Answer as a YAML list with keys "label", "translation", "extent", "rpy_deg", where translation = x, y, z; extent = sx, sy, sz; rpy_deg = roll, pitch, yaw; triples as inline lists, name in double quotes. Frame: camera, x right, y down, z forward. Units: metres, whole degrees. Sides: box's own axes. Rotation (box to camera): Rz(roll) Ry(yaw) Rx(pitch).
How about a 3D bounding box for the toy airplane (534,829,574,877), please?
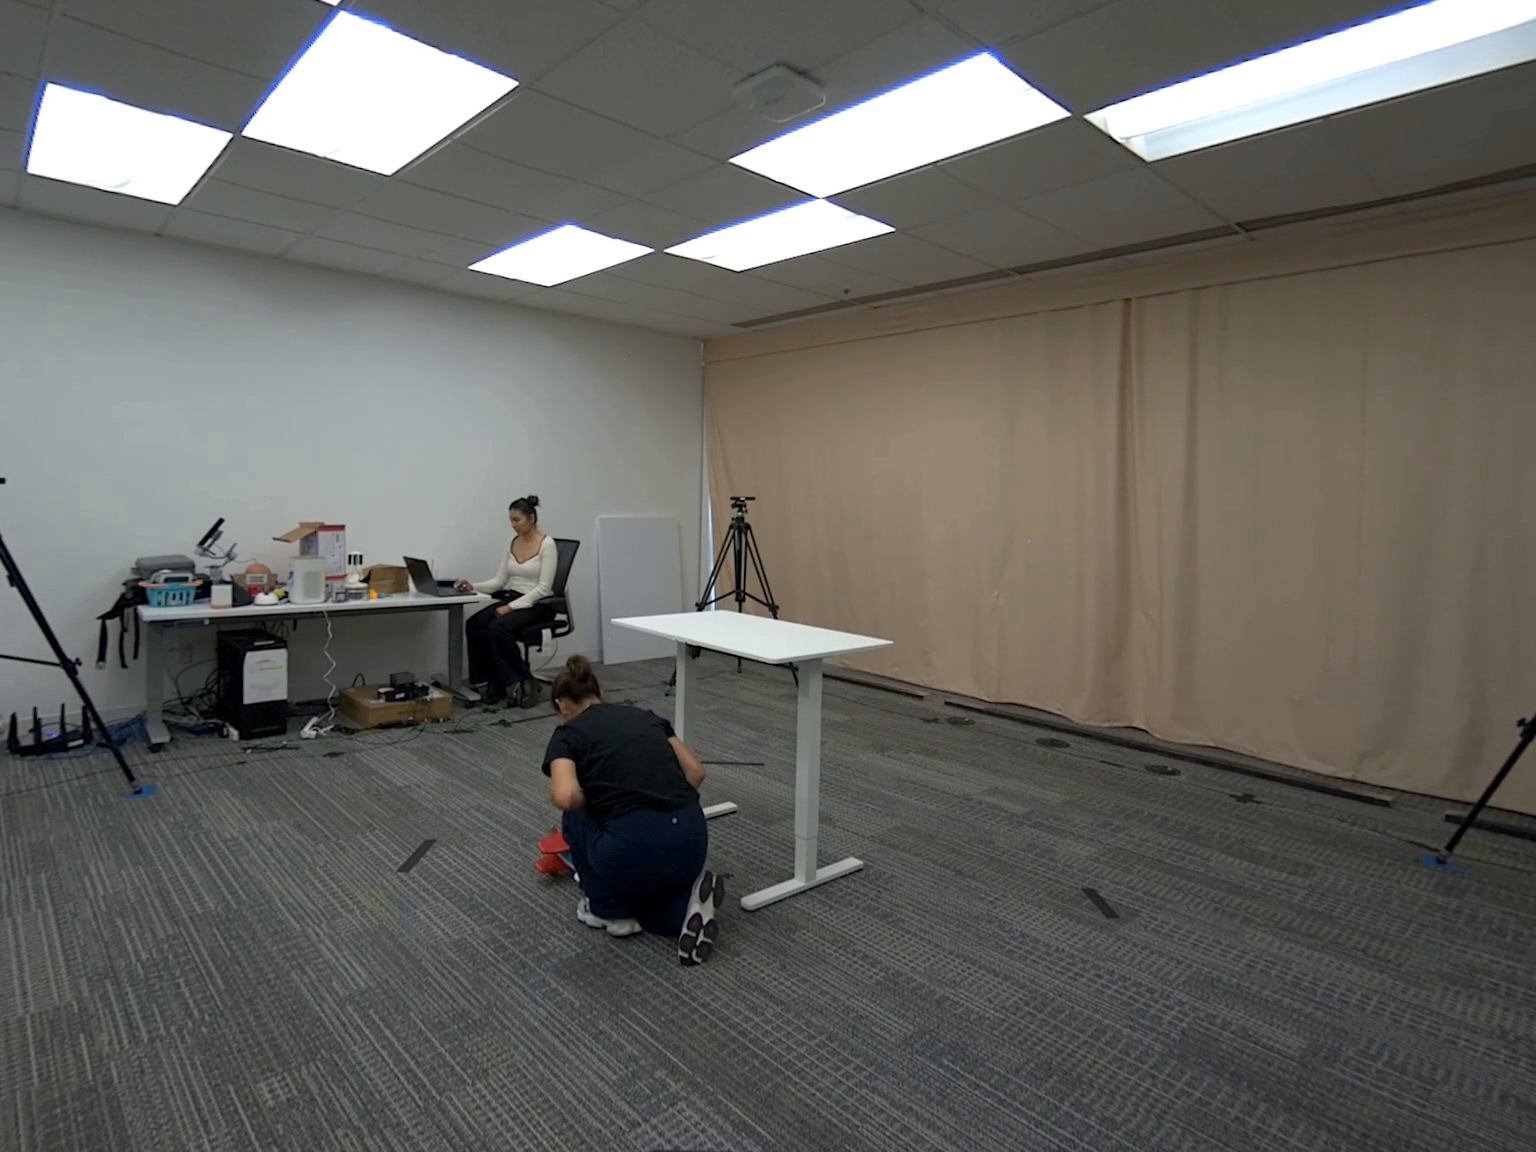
- label: "toy airplane"
  translation: [-0.692, 1.024, 3.042]
  extent: [0.263, 0.156, 0.248]
  rpy_deg: [2, 4, 19]
